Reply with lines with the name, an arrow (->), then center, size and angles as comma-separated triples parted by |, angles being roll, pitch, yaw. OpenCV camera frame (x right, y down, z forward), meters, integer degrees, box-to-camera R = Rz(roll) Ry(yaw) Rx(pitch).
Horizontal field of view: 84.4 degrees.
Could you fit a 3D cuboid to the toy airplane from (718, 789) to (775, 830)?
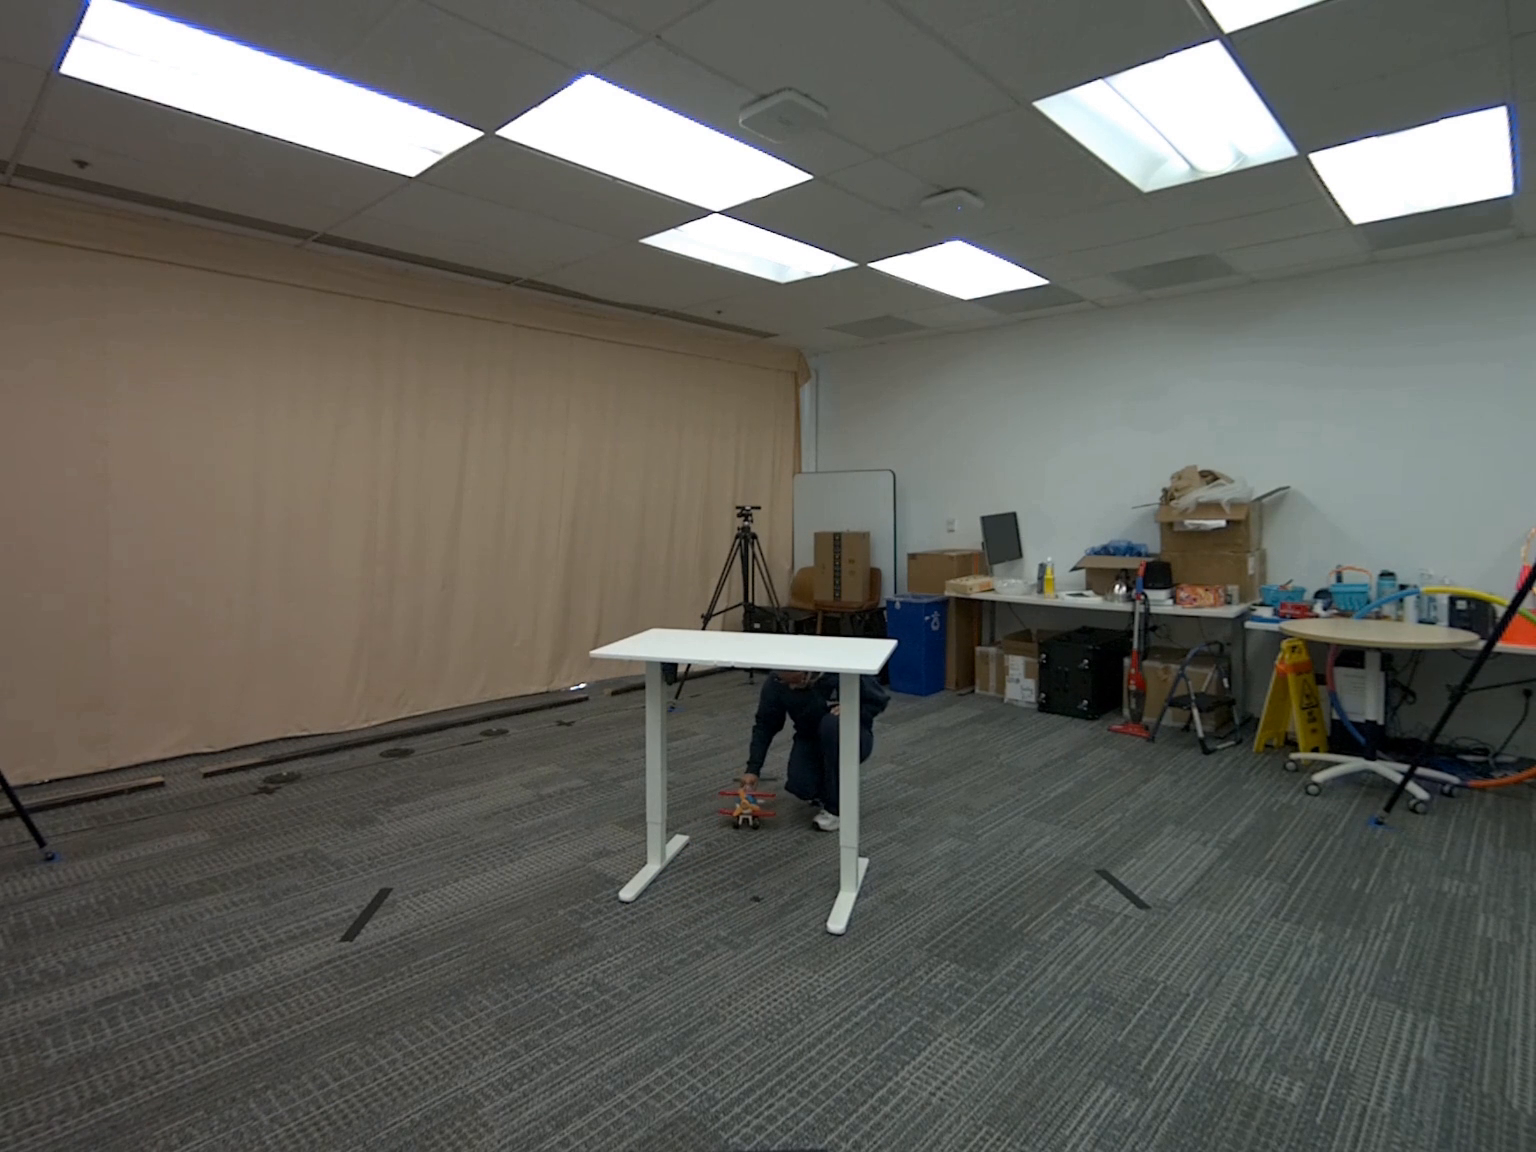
toy airplane -> -0.085, 1.009, 3.709 | 0.246, 0.156, 0.265 | -1, 4, -21
